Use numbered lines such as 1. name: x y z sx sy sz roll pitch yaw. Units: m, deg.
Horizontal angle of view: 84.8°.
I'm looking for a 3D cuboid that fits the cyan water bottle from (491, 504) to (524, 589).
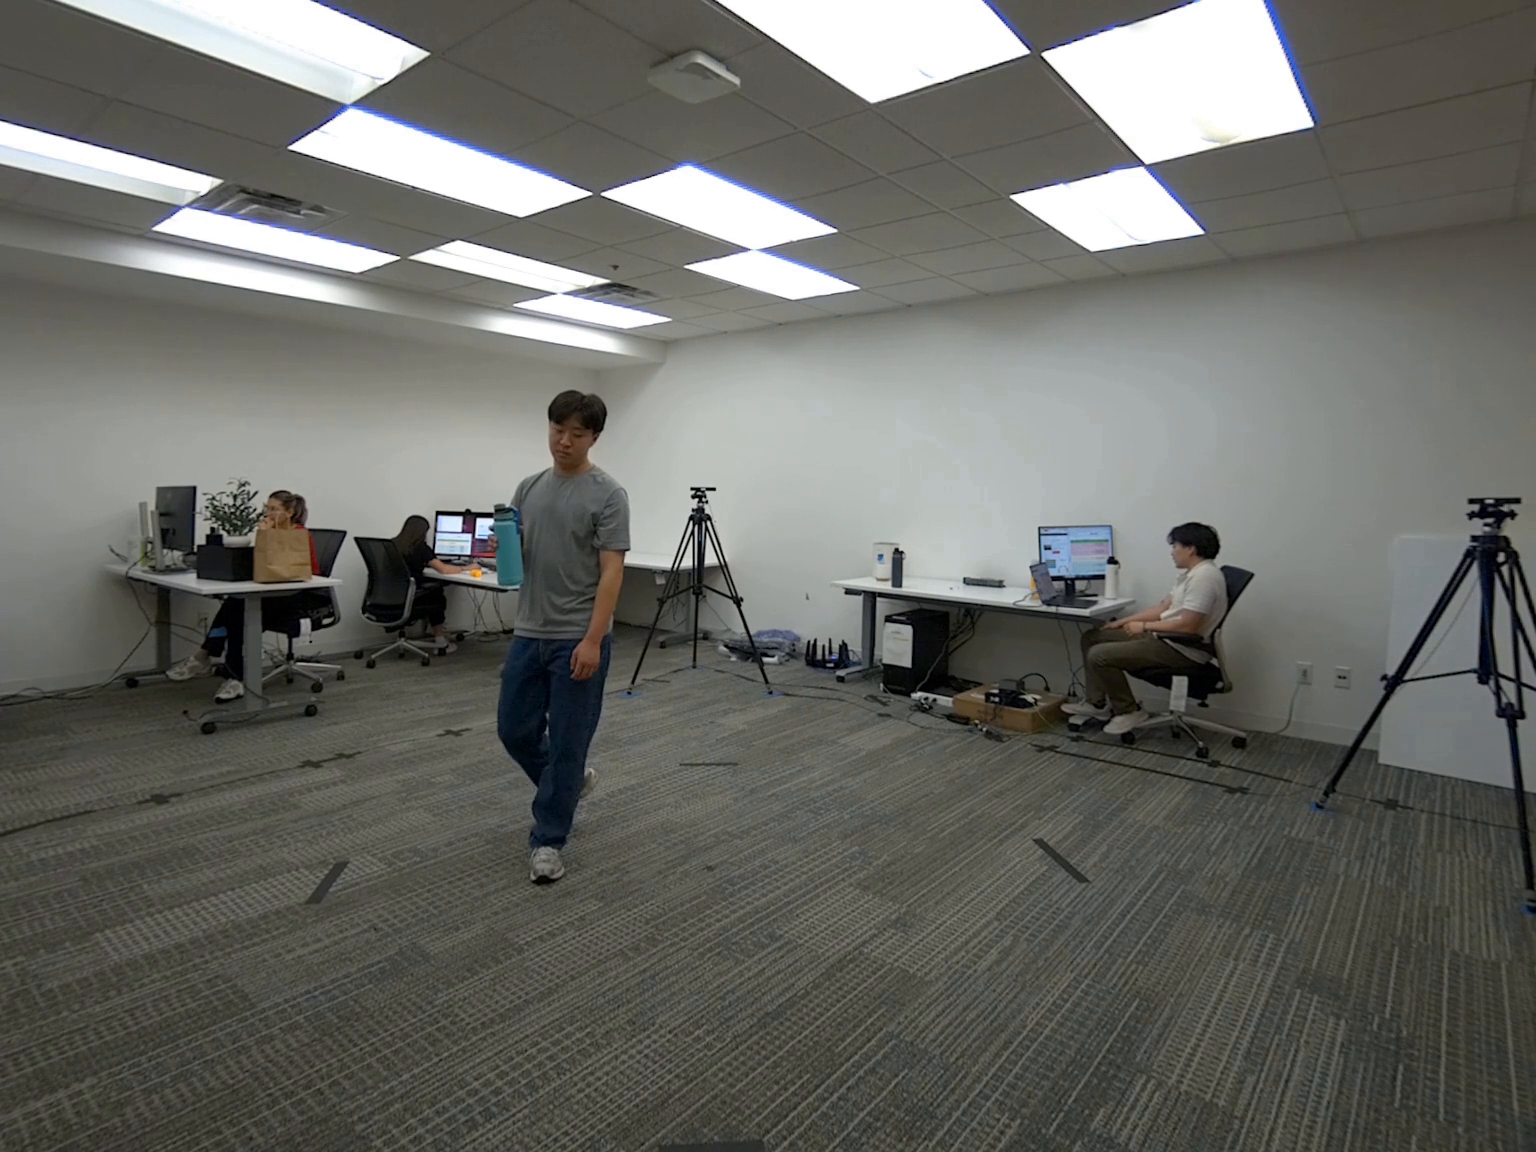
1. cyan water bottle: -0.920 -0.109 2.968 0.092 0.281 0.093 0 10 -2
